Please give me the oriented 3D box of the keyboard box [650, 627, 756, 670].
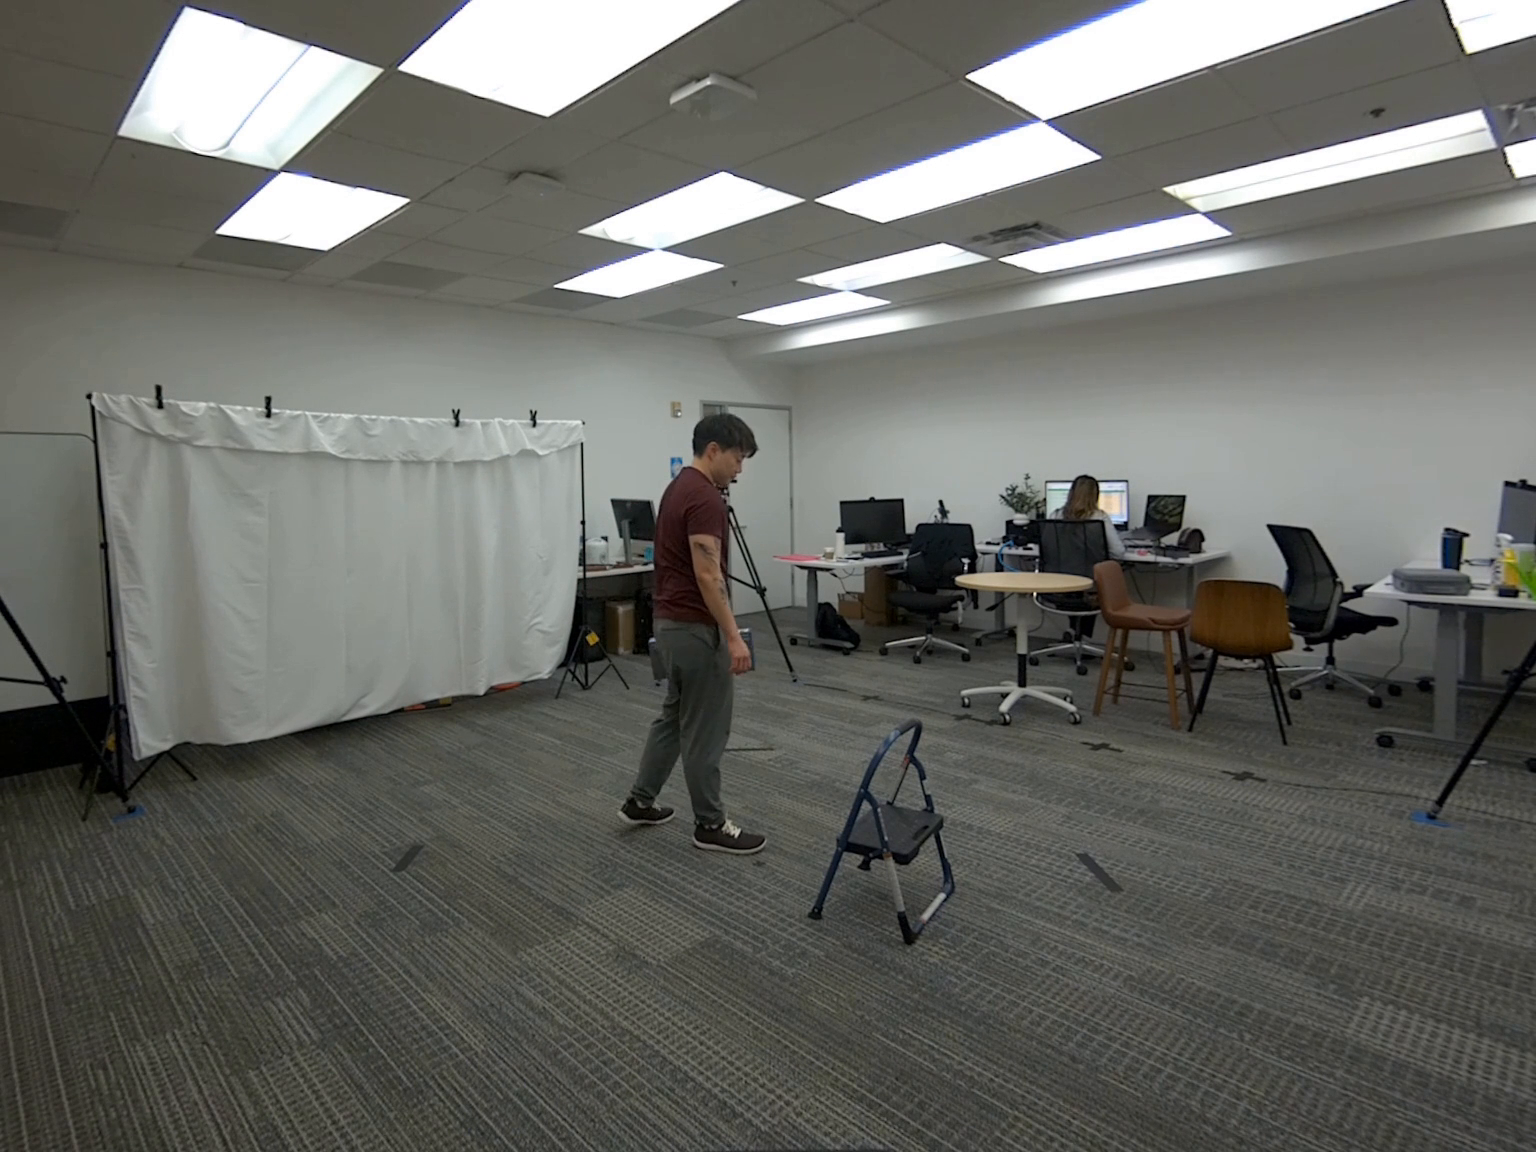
[{"bbox_3d":[-0.284,0.330,3.617,0.439,0.174,0.059,-5,11,5],"label":"keyboard box"}]
